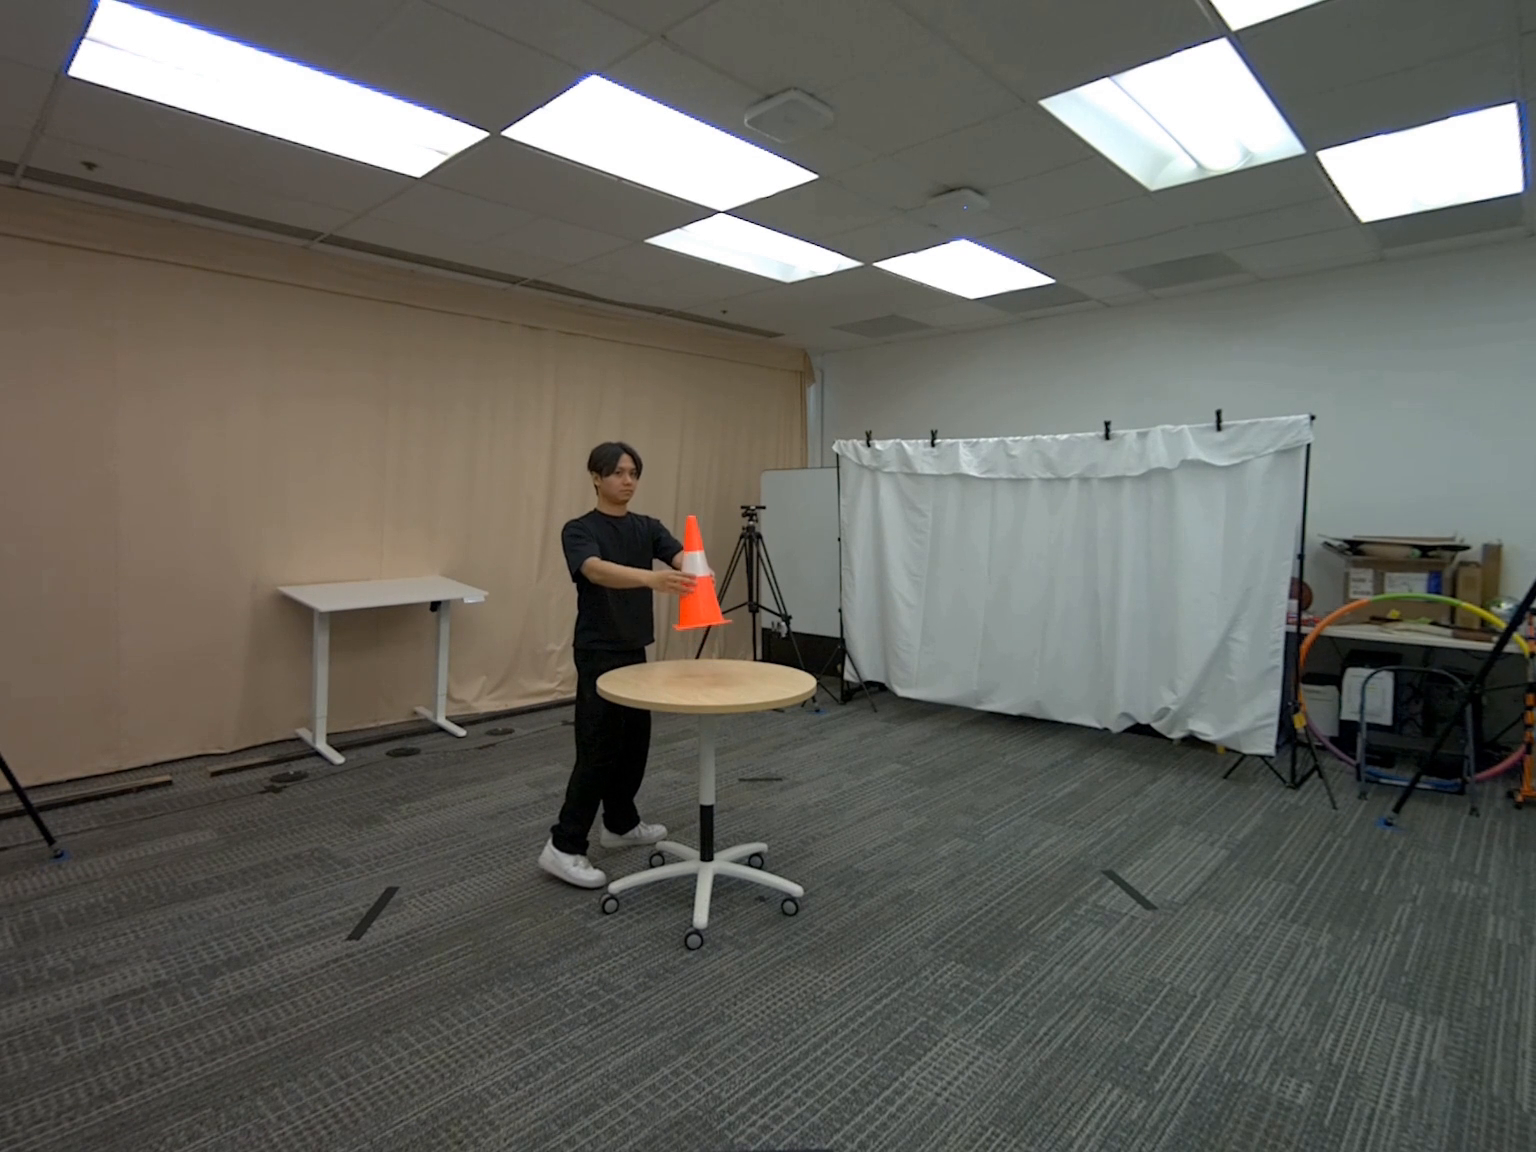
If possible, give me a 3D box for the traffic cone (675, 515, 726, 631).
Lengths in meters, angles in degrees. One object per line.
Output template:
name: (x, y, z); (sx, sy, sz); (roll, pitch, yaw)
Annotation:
traffic cone: (-0.255, -0.026, 2.962); (0.203, 0.384, 0.205); (-5, -1, -9)
